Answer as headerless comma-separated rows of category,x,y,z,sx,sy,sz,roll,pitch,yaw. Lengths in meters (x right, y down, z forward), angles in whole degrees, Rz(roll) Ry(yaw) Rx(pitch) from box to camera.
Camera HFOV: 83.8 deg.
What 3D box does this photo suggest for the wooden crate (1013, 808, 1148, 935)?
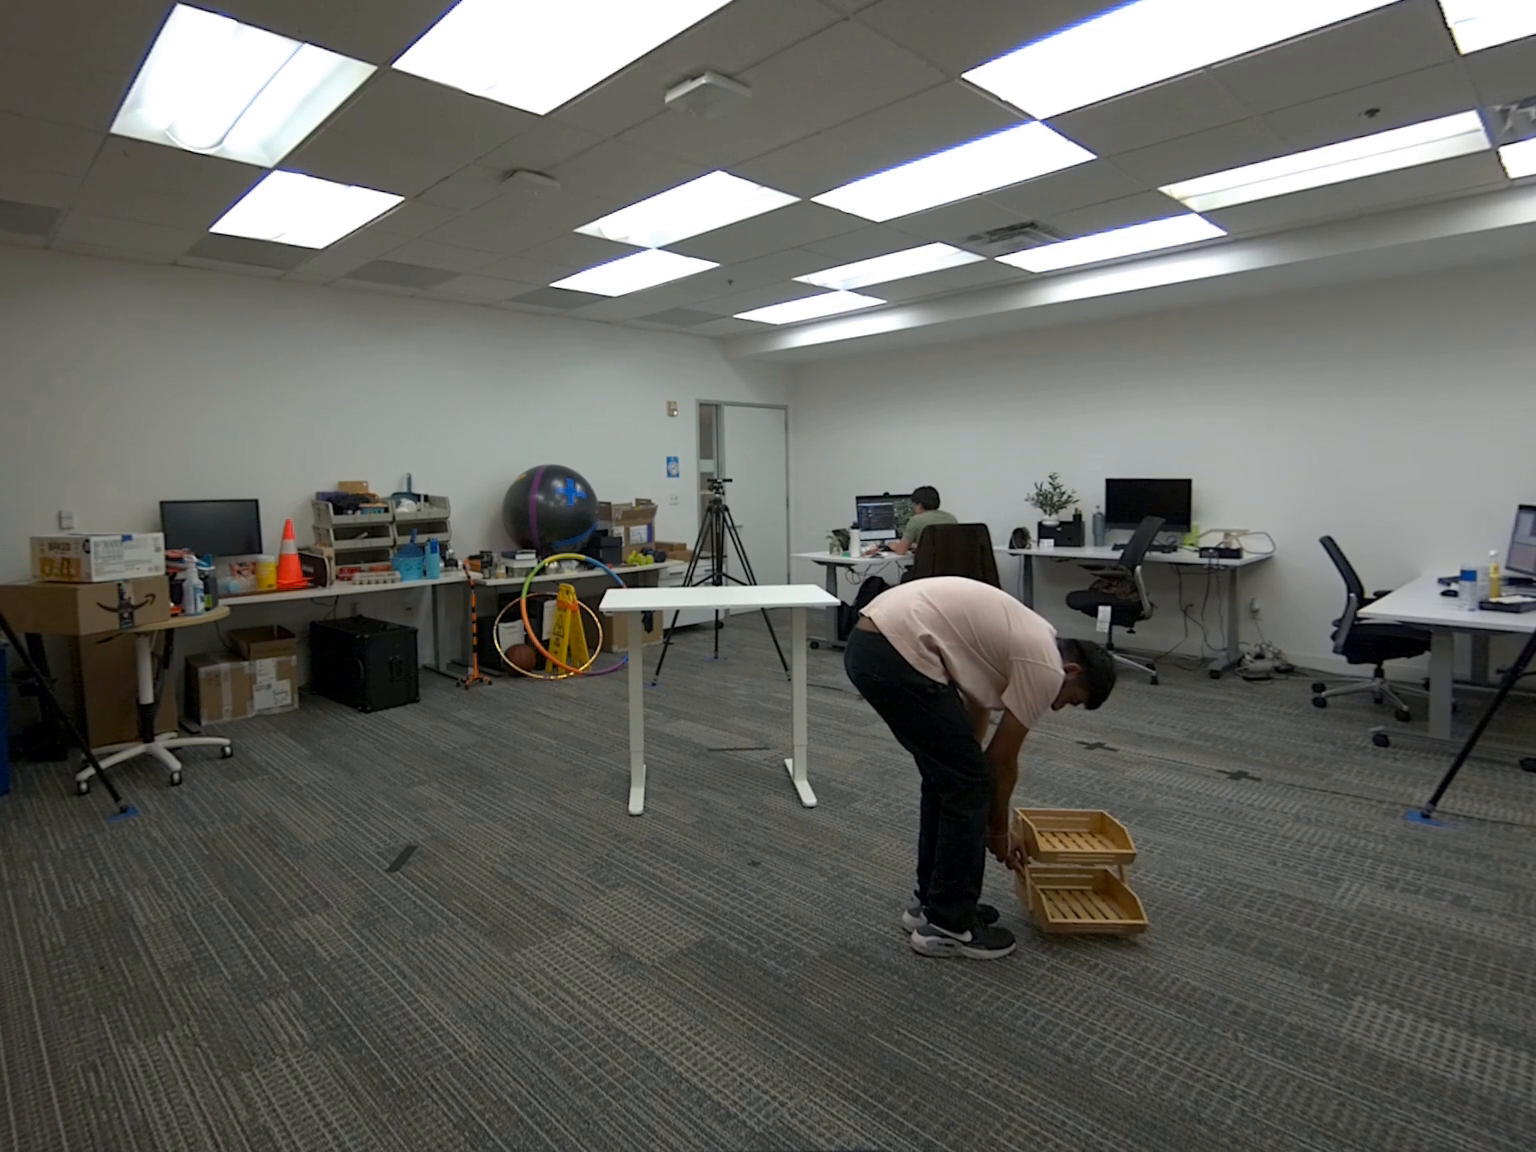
wooden crate,0.969,0.902,2.627,0.323,0.272,0.305,2,7,-6
